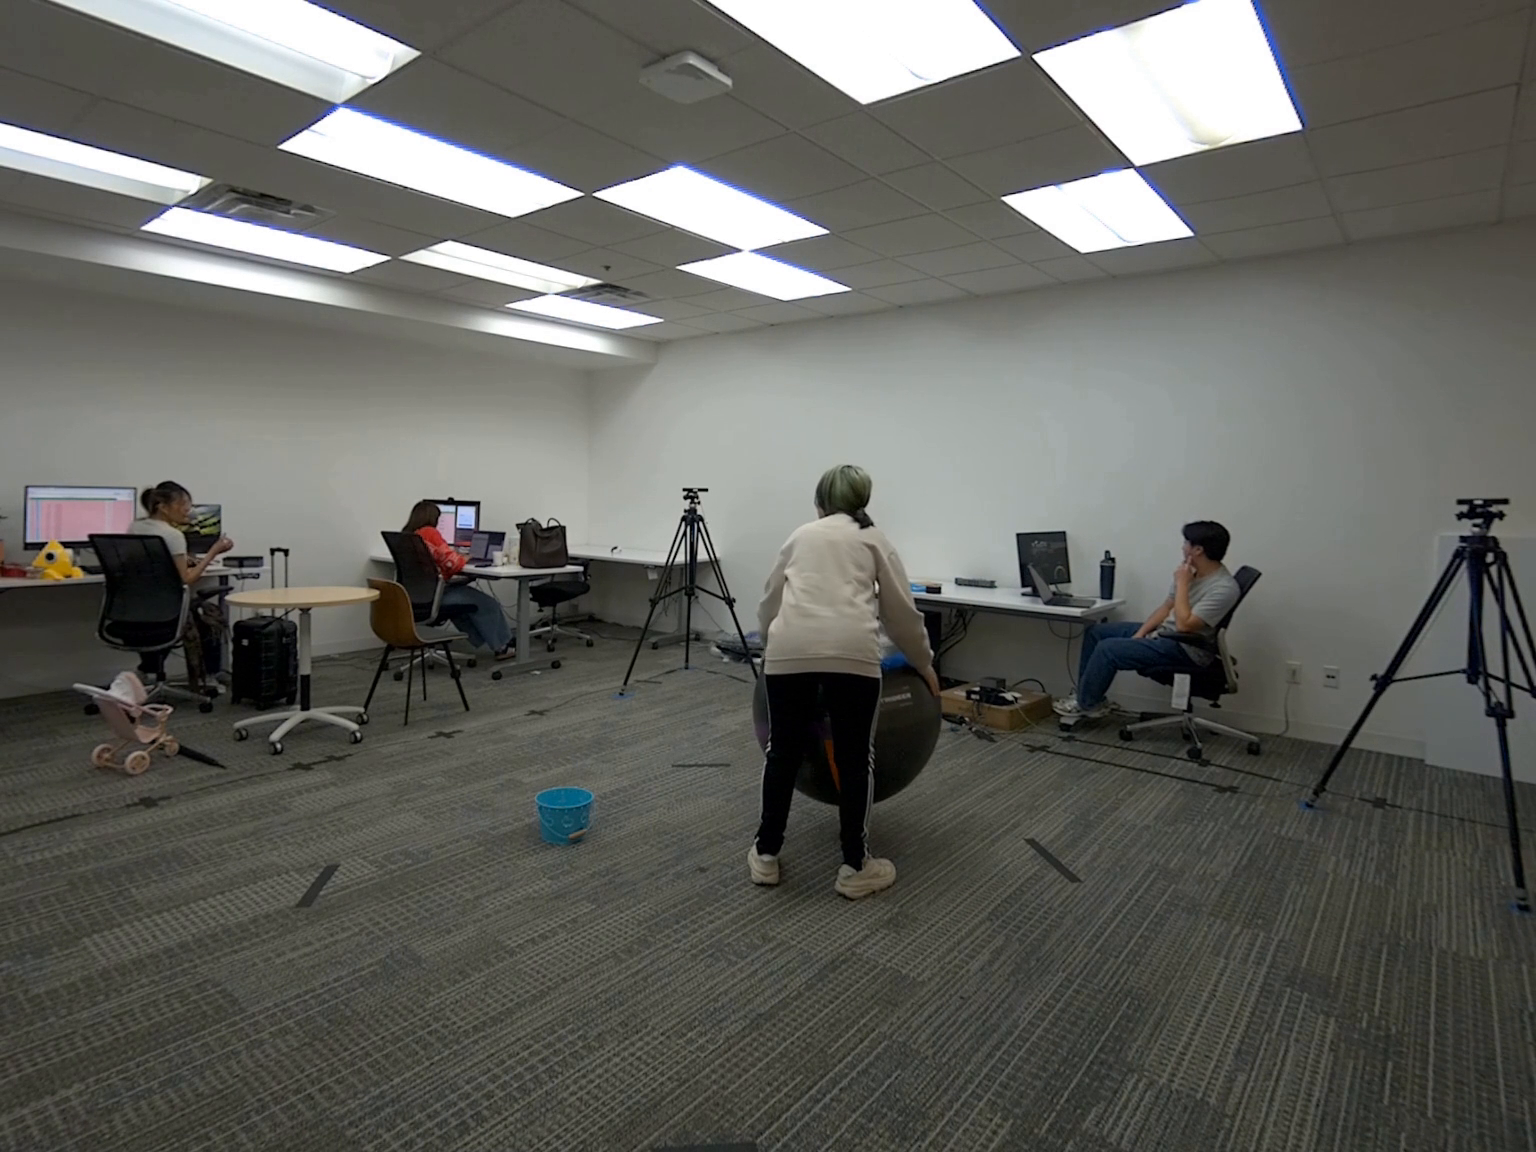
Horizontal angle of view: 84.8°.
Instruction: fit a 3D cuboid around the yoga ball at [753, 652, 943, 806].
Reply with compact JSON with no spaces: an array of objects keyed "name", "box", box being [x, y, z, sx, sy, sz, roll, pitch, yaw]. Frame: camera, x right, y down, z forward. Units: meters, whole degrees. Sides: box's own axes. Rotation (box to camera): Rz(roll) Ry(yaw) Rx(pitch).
[{"name":"yoga ball","box":[0.311,0.532,3.443,0.757,0.755,0.762,1,4,-2]}]
